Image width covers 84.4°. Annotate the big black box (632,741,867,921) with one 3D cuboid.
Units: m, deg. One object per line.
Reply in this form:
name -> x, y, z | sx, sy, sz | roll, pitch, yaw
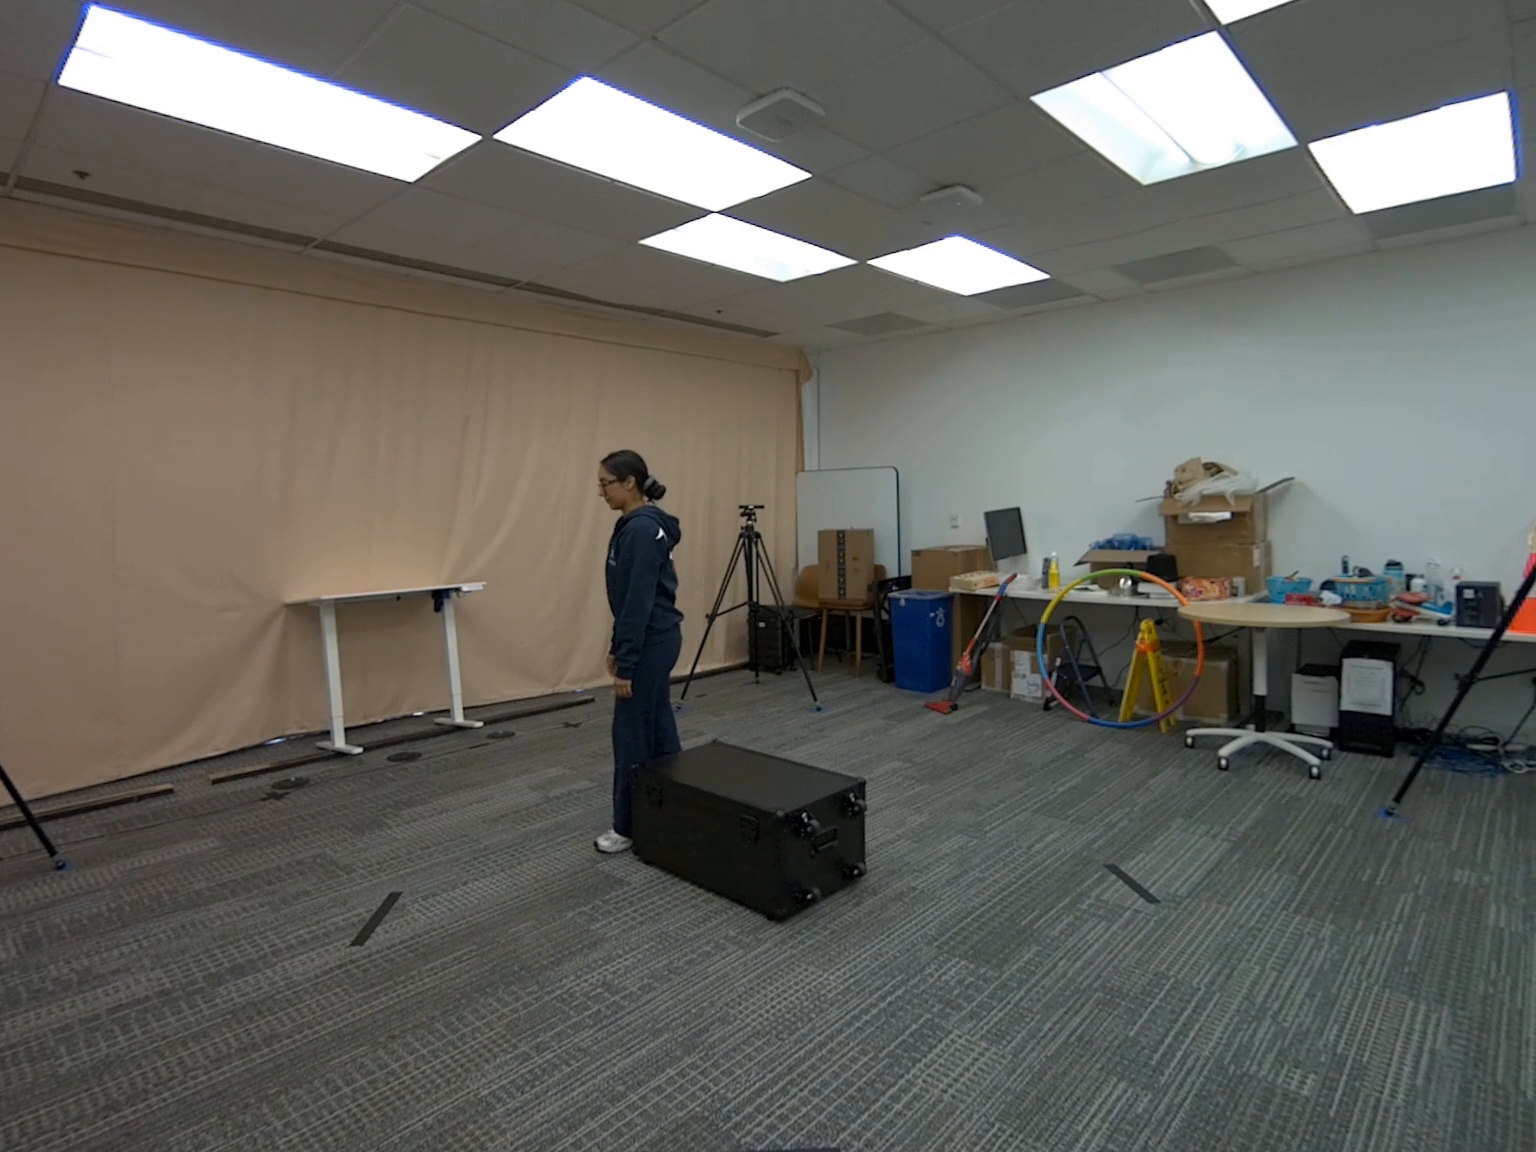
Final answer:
big black box -> -0.063, 0.933, 3.186 | 0.890, 0.395, 0.506 | 2, 6, 43
